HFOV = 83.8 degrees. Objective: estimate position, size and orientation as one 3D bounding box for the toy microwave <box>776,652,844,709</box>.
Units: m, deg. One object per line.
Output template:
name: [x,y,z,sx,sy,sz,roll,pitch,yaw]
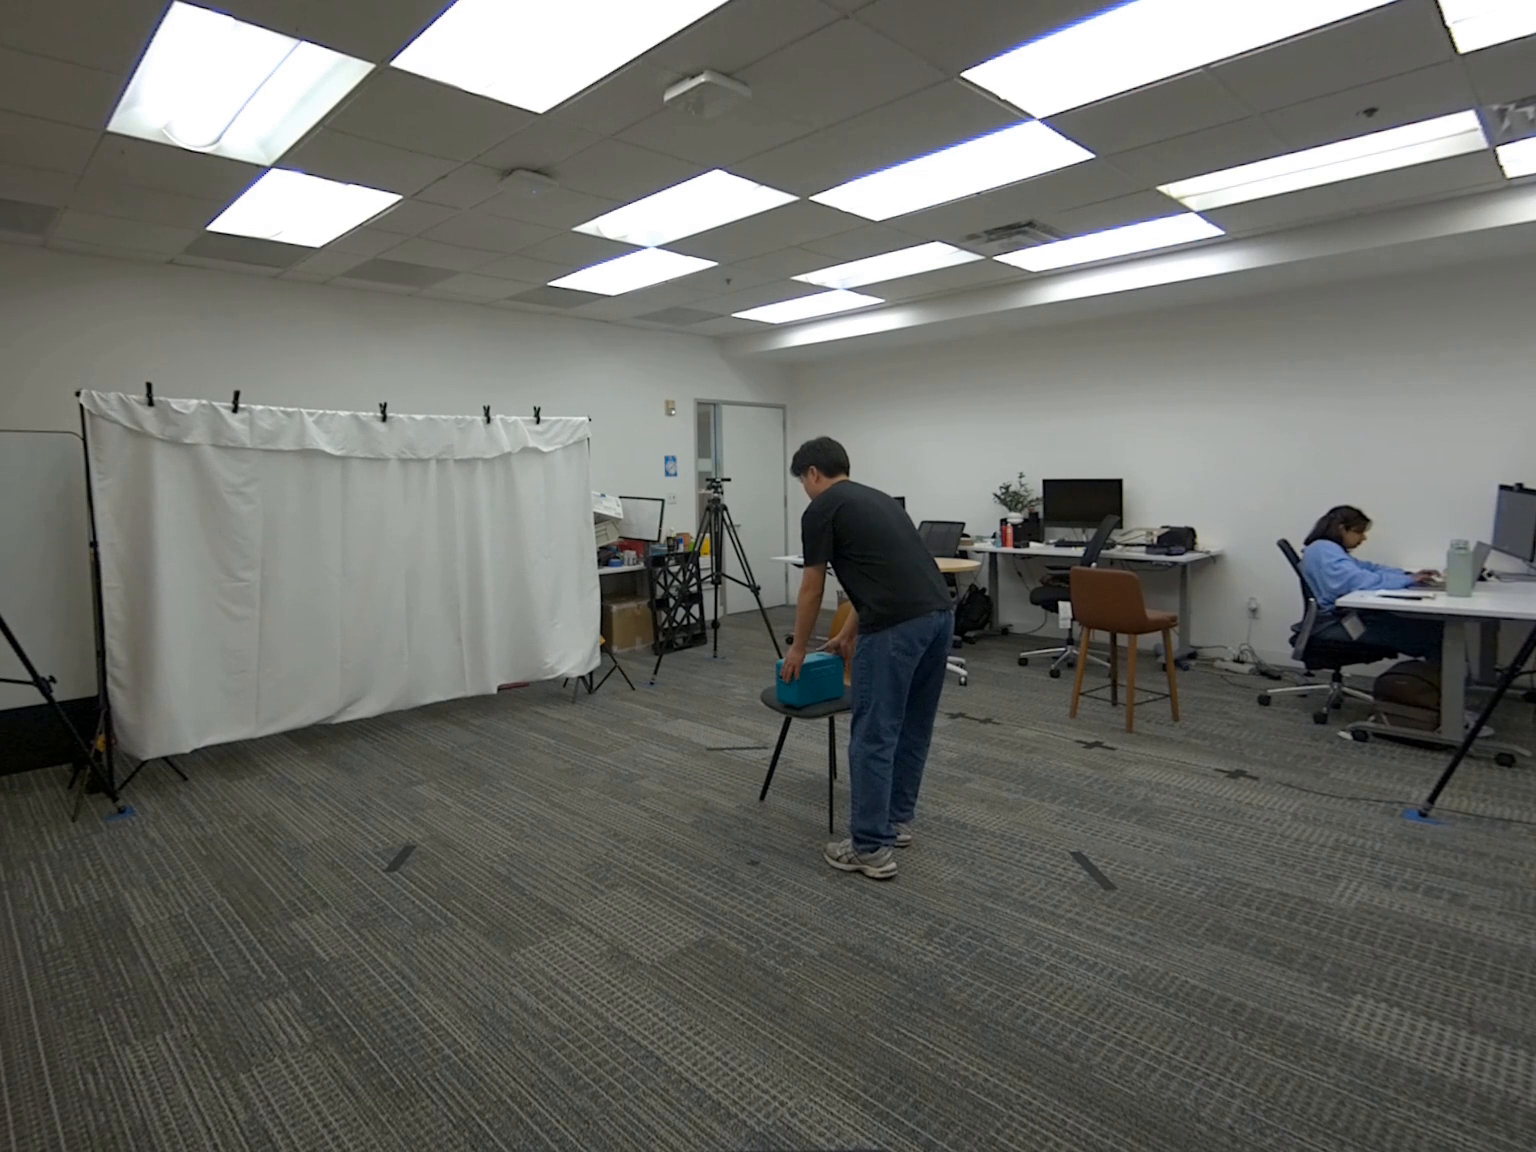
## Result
toy microwave: [0.174,0.420,3.533,0.279,0.183,0.157,-6,7,-36]
